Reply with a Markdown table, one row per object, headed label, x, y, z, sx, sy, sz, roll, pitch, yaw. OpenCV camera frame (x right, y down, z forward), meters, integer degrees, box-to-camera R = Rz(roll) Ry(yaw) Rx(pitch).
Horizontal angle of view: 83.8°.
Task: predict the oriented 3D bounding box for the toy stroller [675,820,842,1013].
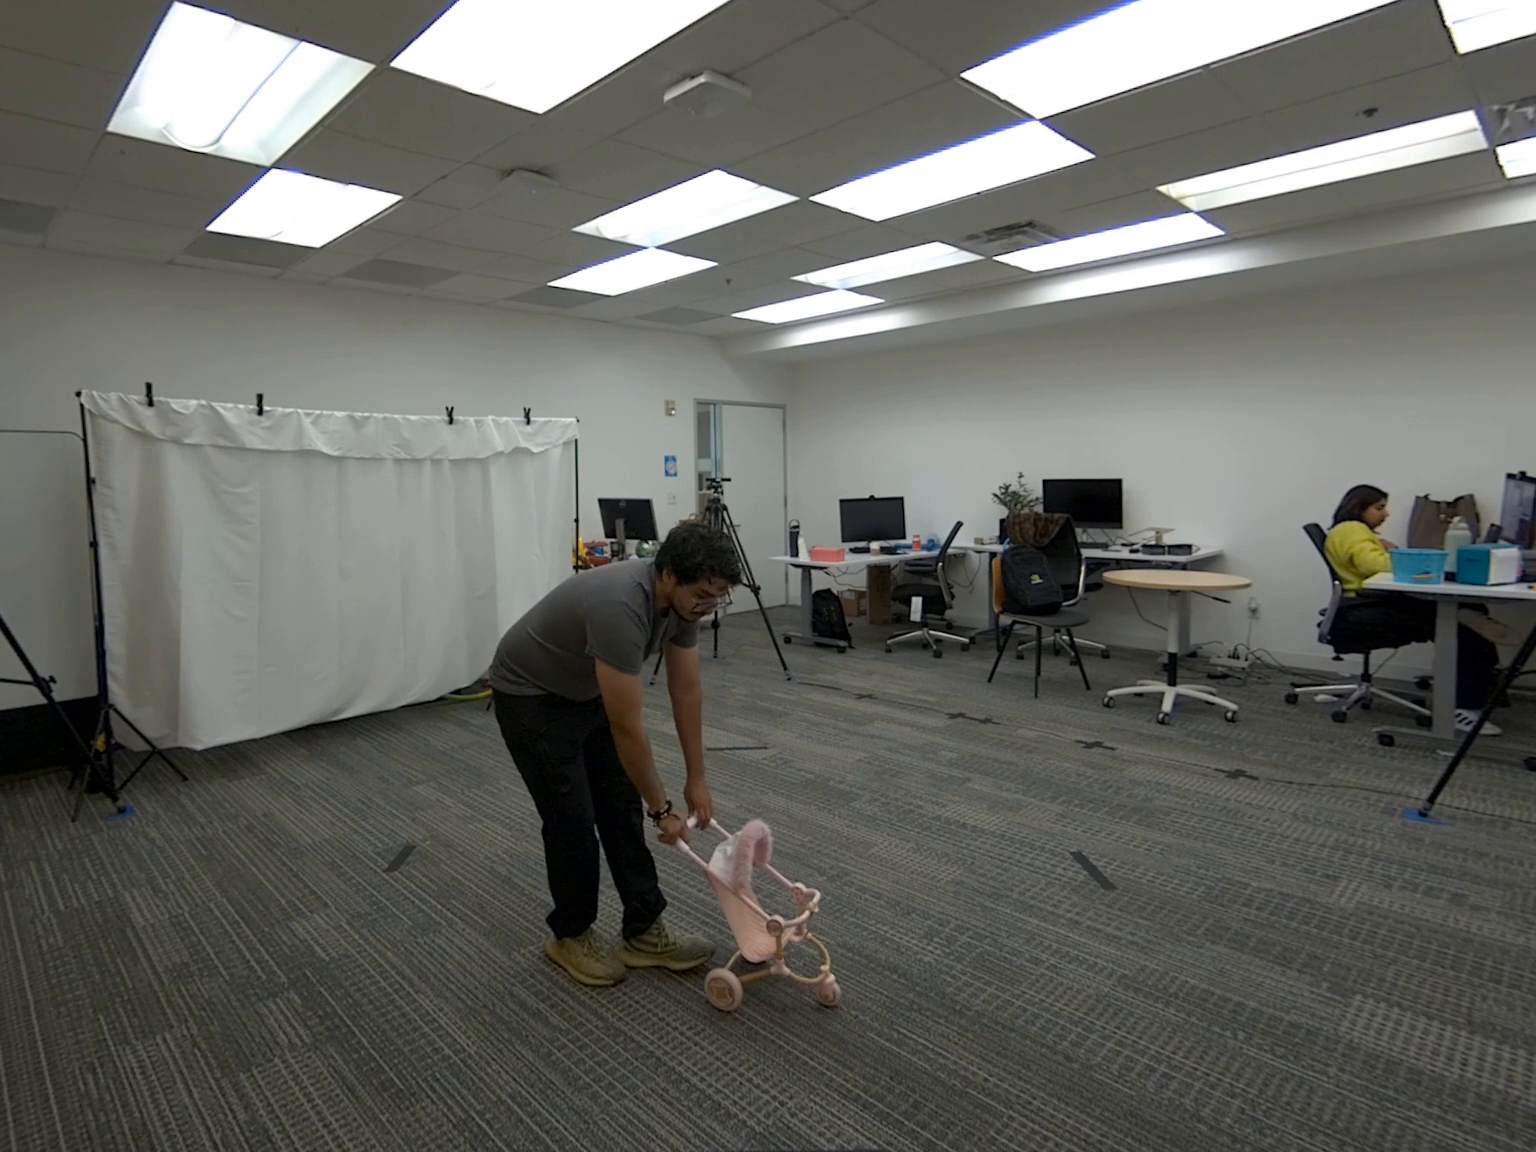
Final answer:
| label | x | y | z | sx | sy | sz | roll | pitch | yaw |
| --- | --- | --- | --- | --- | --- | --- | --- | --- | --- |
| toy stroller | -0.018 | 0.903 | 2.330 | 0.347 | 0.537 | 0.276 | -17 | -3 | 27 |
